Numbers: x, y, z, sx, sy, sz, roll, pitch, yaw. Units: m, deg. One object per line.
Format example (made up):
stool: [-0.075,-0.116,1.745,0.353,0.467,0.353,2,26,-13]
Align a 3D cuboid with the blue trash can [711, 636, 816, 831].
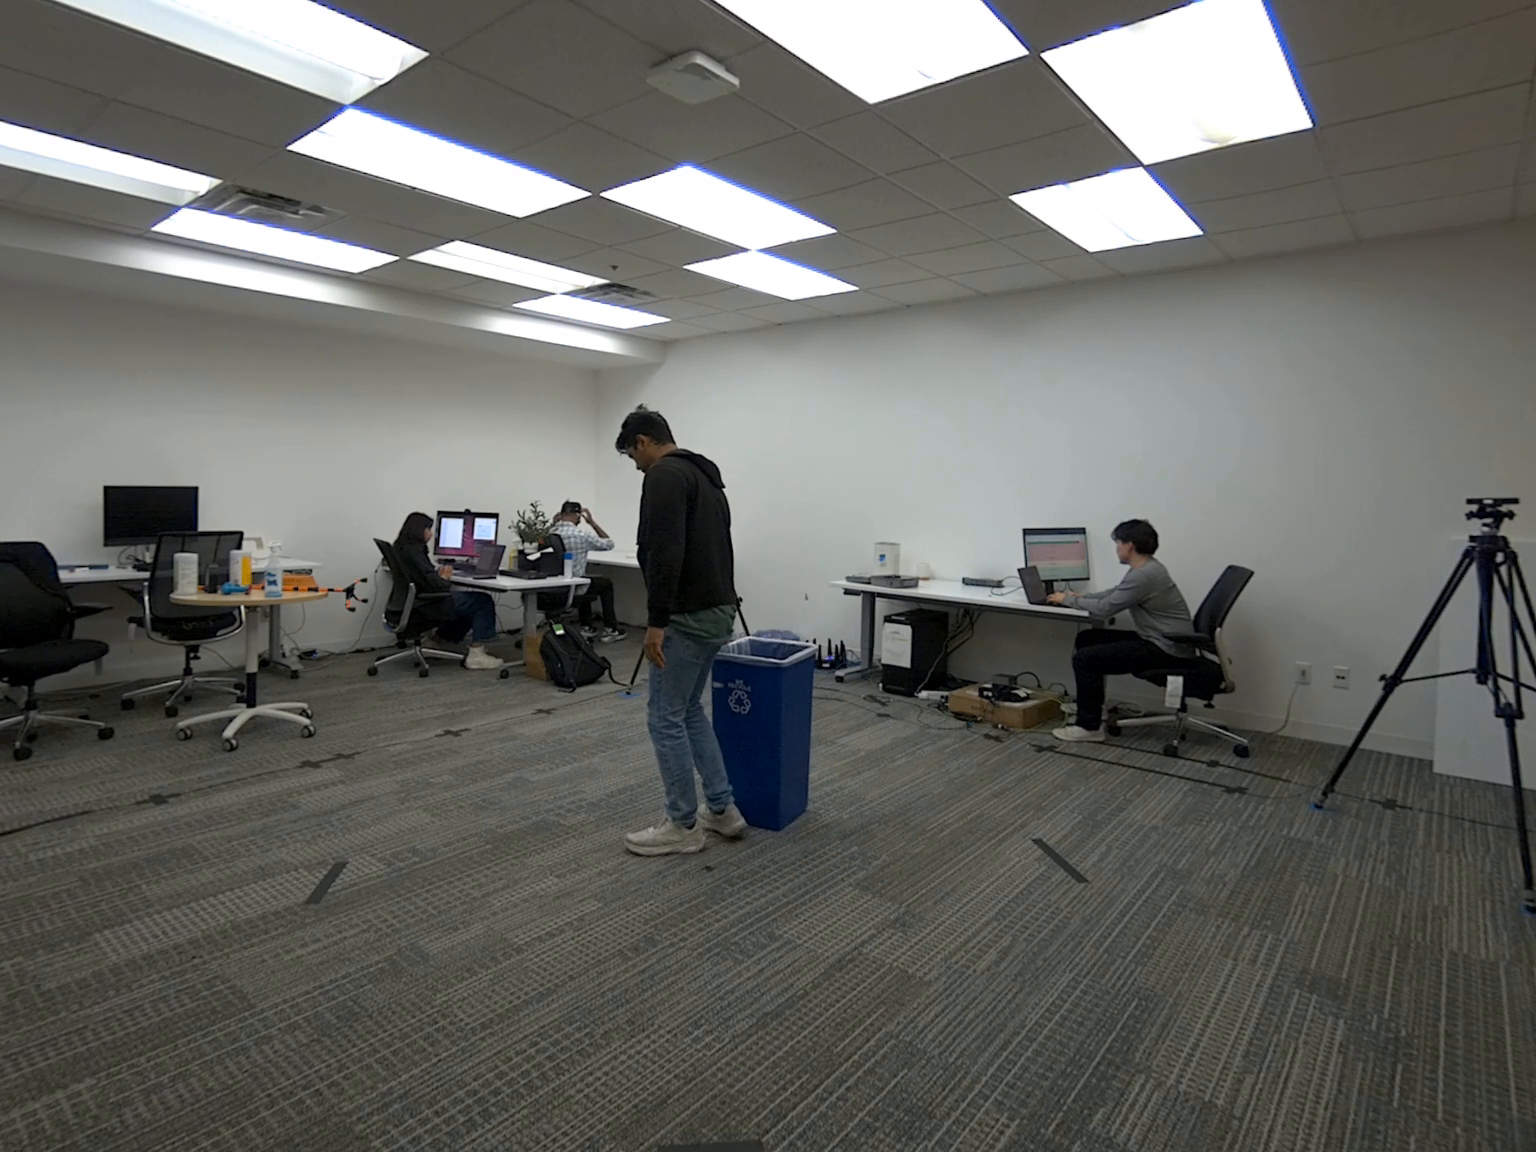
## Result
blue trash can: [-0.027,0.657,3.619,0.389,0.711,0.365,3,5,27]
